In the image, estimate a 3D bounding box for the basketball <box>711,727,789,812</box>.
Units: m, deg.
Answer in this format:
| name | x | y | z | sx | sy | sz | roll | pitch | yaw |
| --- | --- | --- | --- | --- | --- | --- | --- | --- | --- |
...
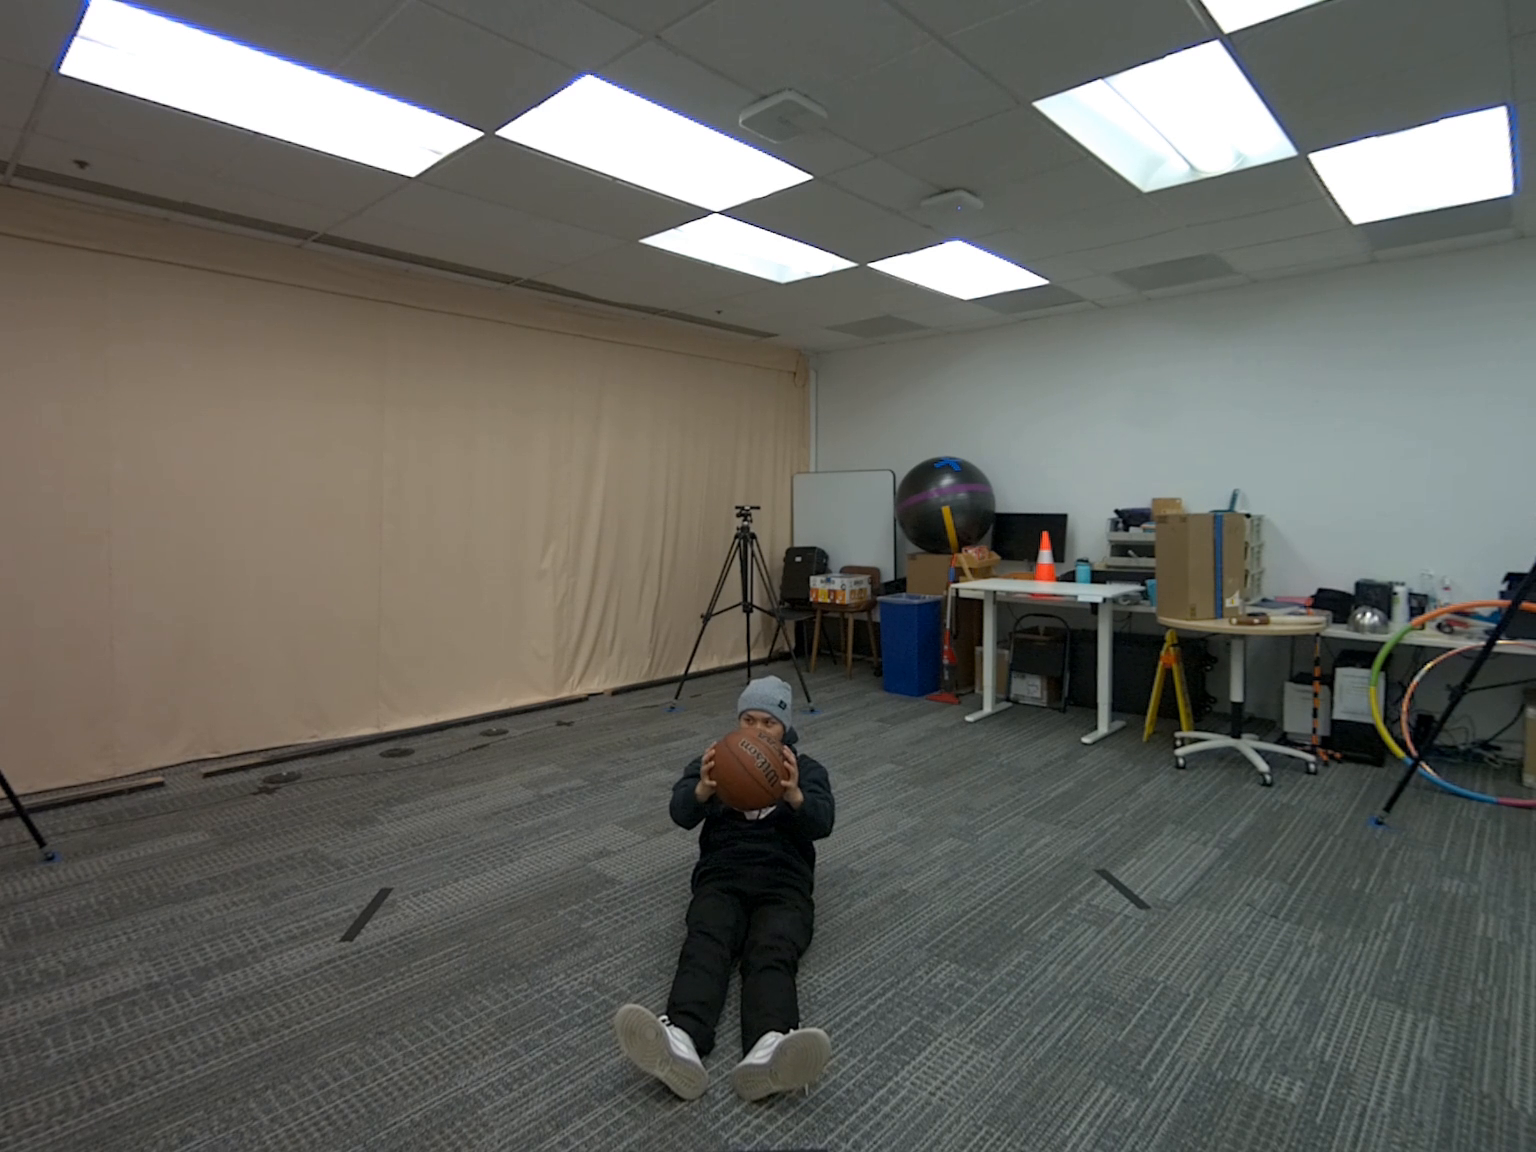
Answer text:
| name | x | y | z | sx | sy | sz | roll | pitch | yaw |
| --- | --- | --- | --- | --- | --- | --- | --- | --- | --- |
| basketball | -0.058 | 0.572 | 2.482 | 0.236 | 0.235 | 0.237 | 0 | 4 | -2 |
